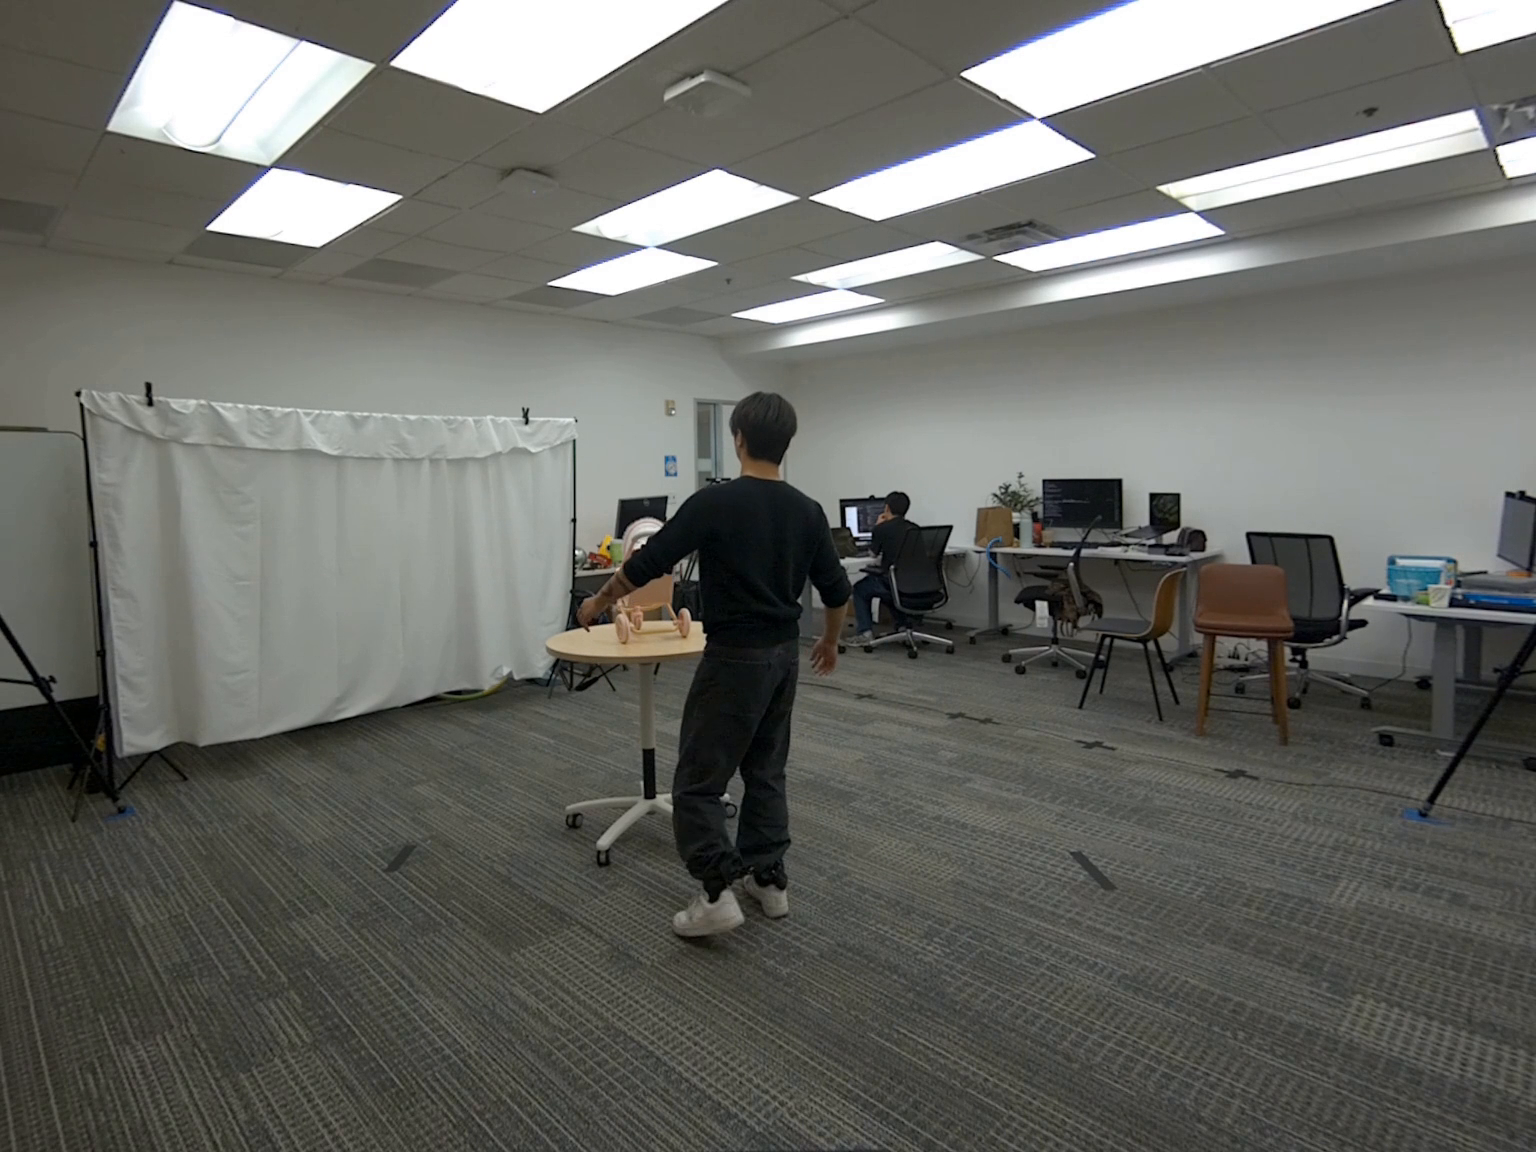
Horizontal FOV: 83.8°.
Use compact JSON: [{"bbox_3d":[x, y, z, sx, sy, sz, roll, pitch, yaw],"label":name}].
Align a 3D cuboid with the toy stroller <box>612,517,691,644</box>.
[{"bbox_3d":[-0.467,0.018,3.336,0.277,0.527,0.352,-3,20,-18],"label":"toy stroller"}]
